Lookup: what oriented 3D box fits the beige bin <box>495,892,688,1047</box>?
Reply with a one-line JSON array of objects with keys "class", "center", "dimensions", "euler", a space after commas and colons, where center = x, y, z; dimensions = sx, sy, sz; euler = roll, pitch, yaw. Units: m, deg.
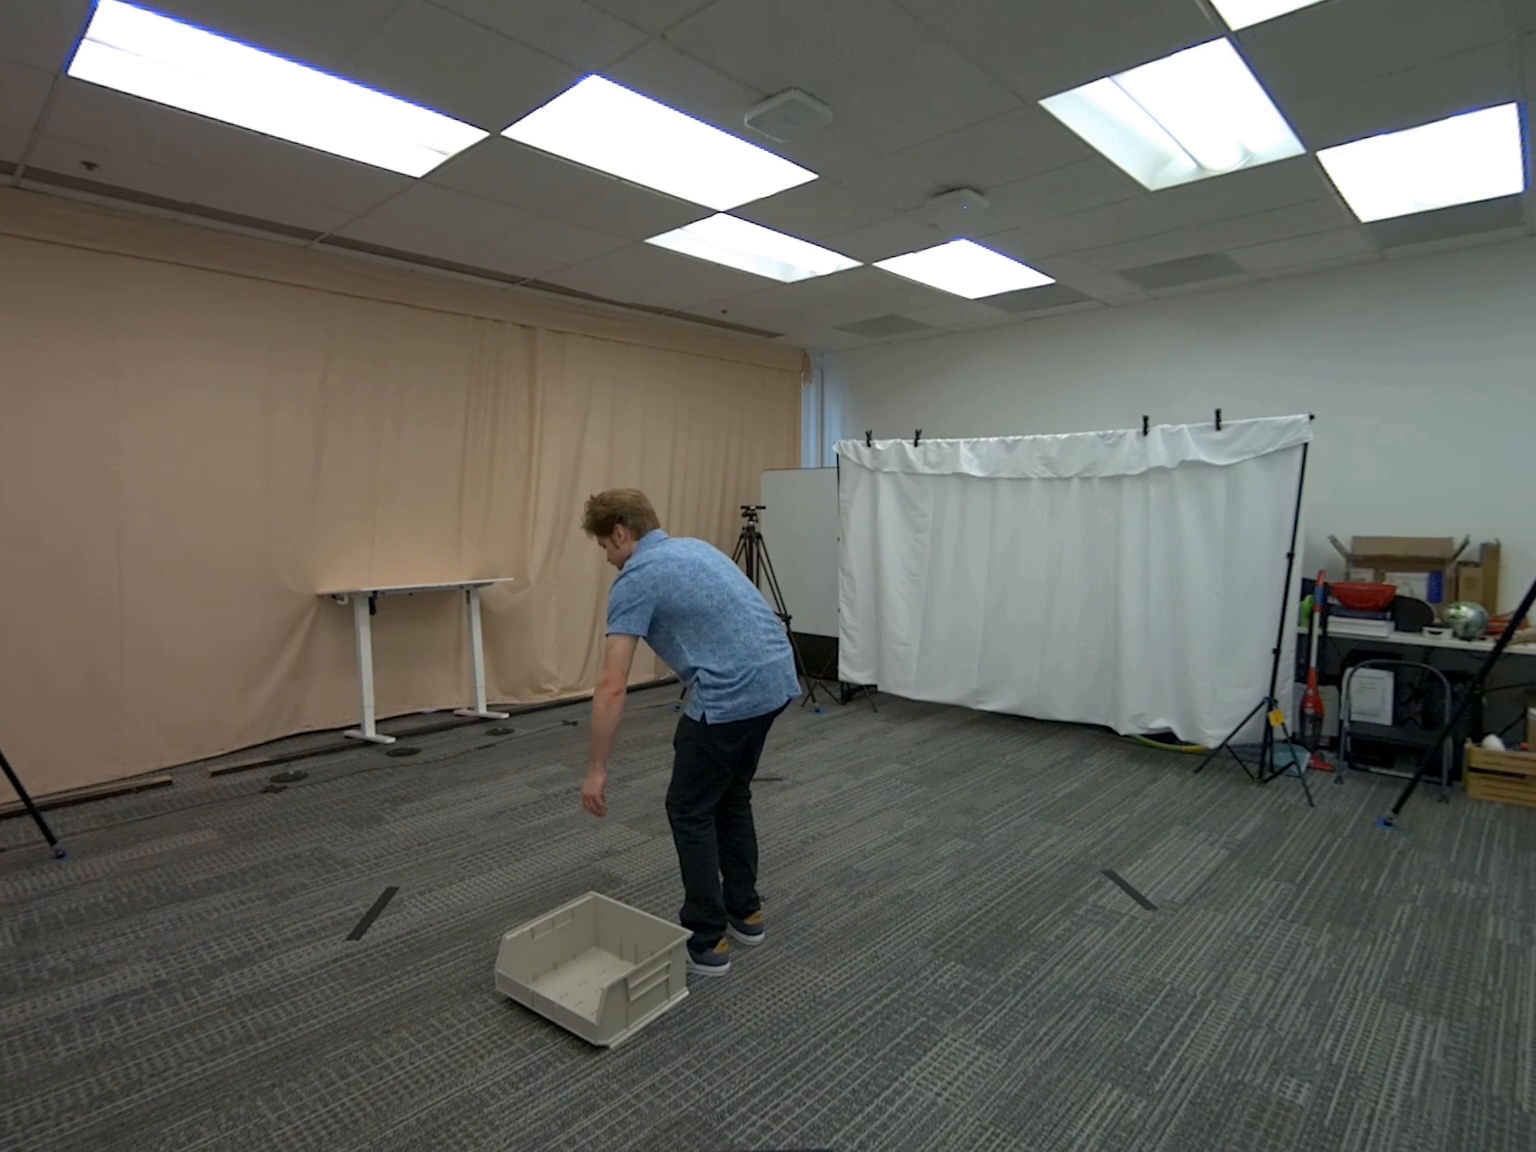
[{"class": "beige bin", "center": [-0.493, 1.106, 2.386], "dimensions": [0.436, 0.188, 0.366], "euler": [3, 4, 37]}]
